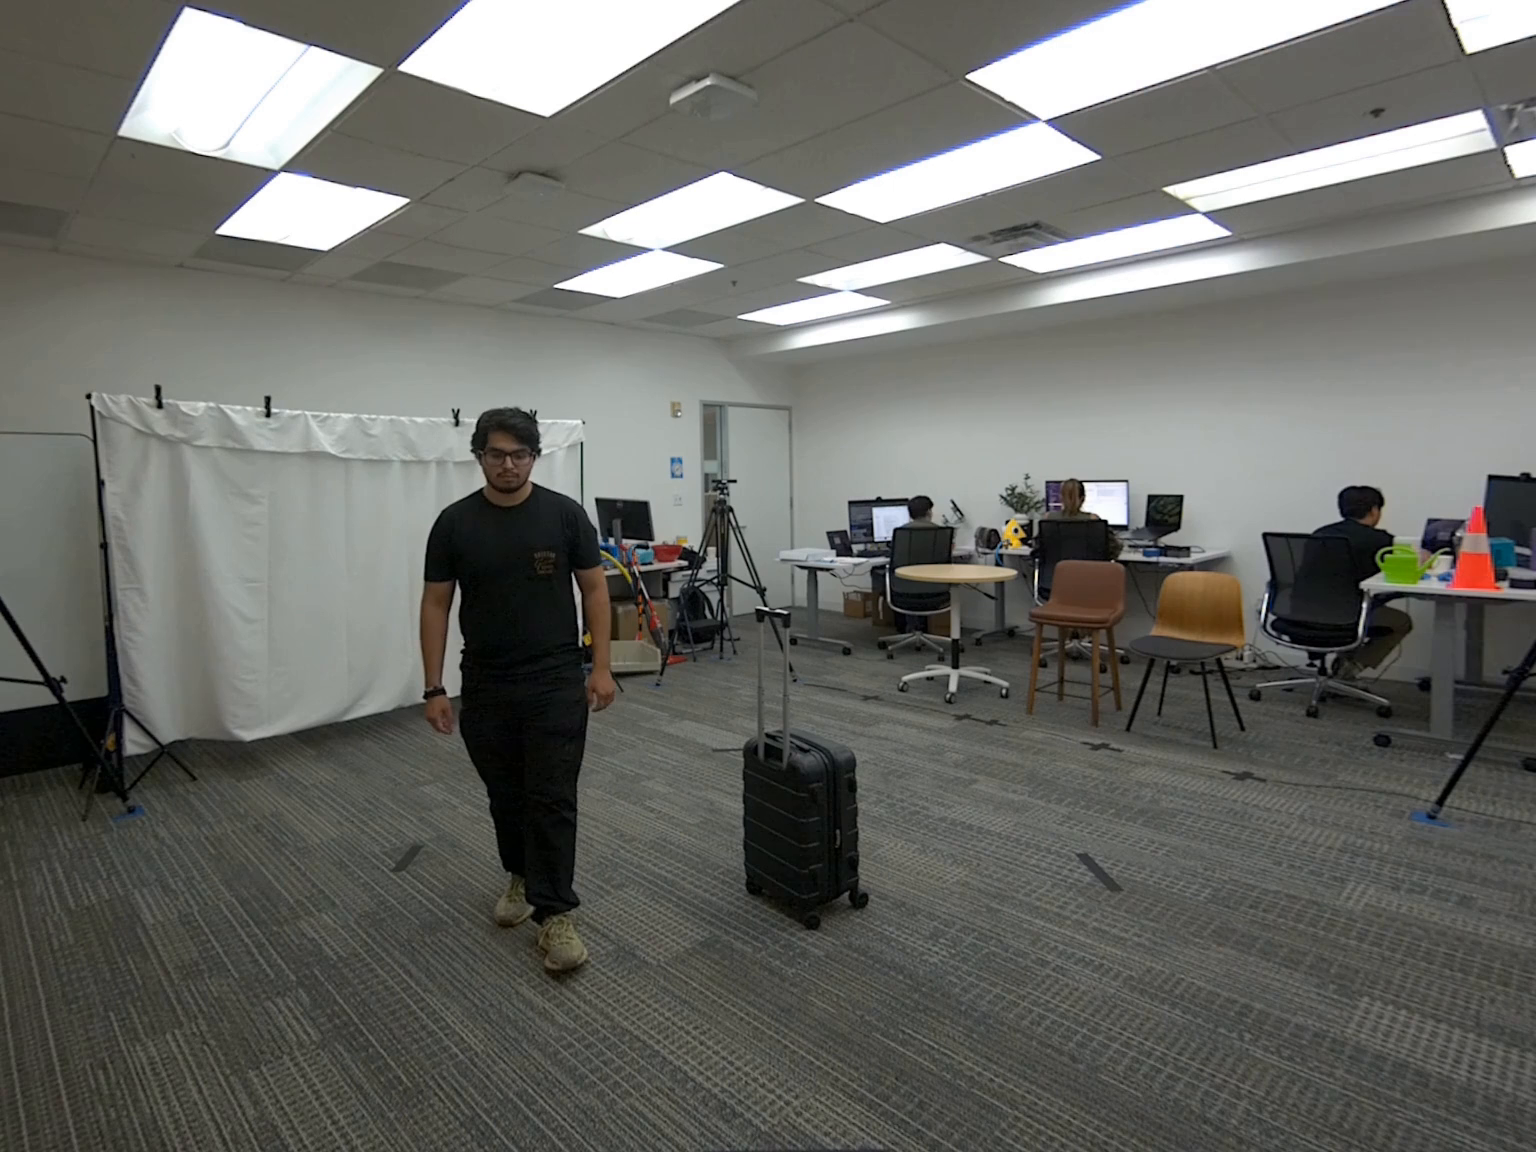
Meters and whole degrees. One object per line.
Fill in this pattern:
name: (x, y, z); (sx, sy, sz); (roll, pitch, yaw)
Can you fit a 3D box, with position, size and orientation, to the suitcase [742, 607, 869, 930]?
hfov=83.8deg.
suitcase: (0.107, 0.598, 2.816); (0.250, 0.975, 0.395); (-3, 5, -35)
